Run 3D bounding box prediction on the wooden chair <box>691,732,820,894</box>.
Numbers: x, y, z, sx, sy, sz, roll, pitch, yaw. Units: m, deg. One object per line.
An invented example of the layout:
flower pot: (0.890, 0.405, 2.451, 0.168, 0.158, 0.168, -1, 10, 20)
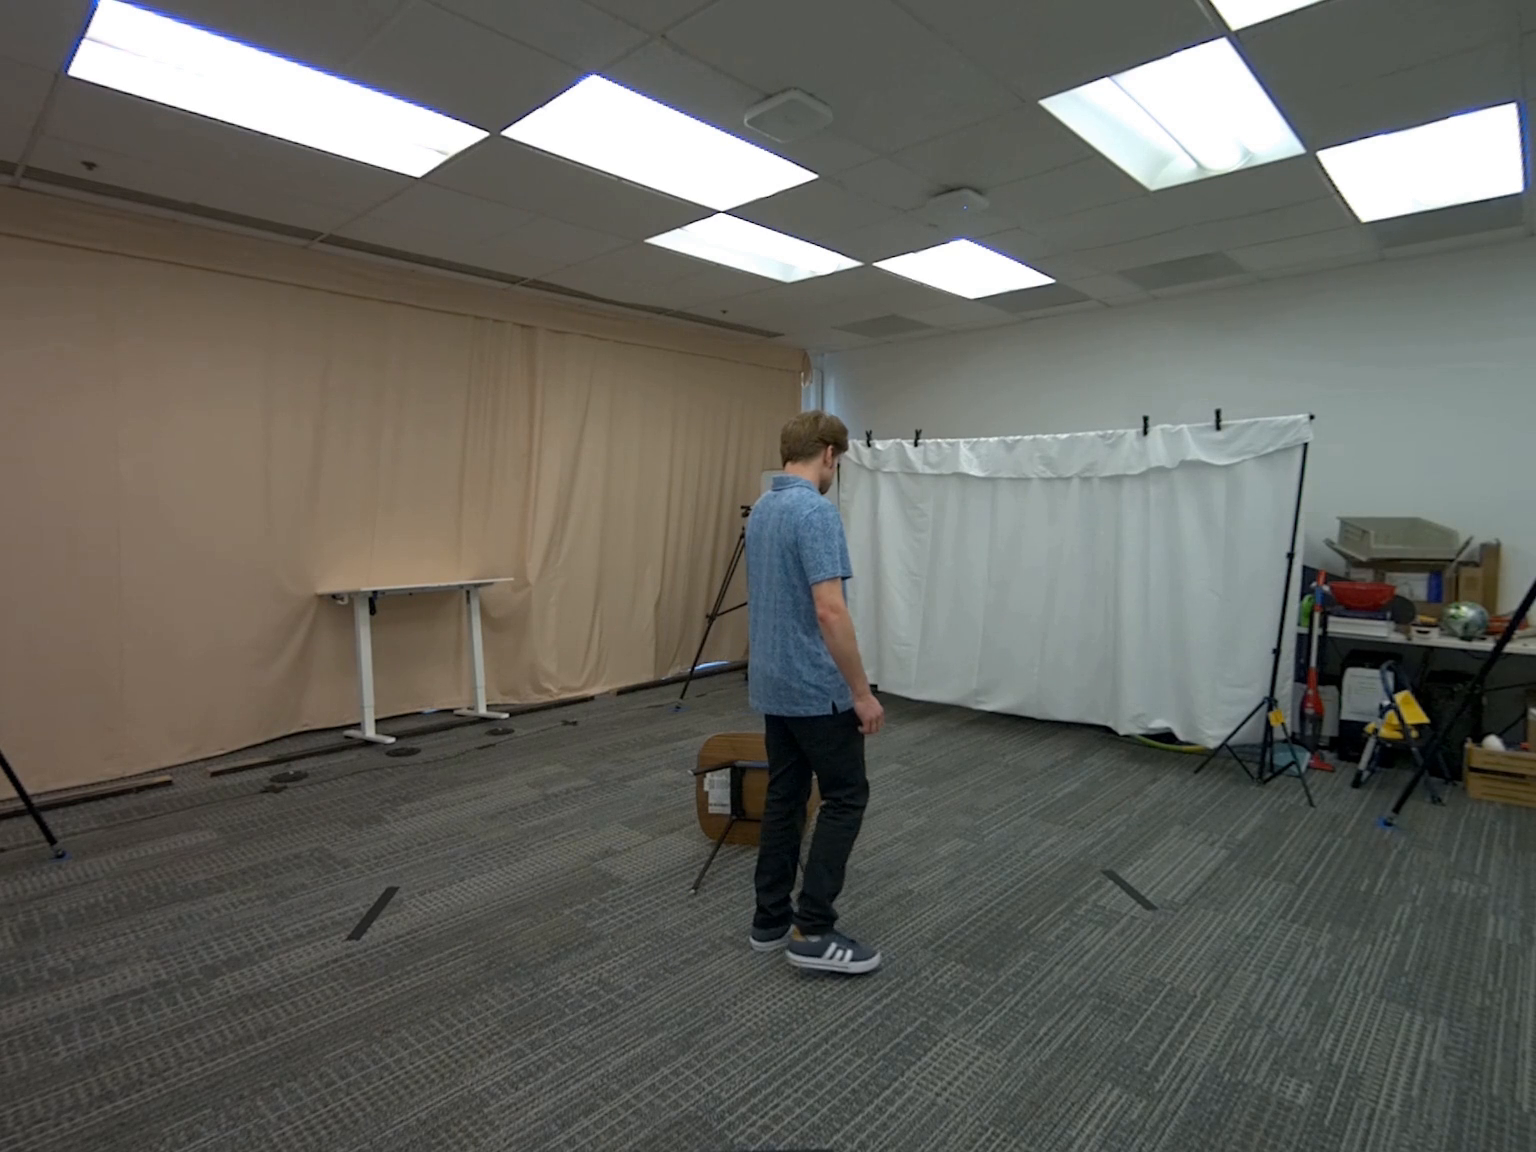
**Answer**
wooden chair: (-0.034, 0.880, 3.393, 0.529, 0.476, 0.870, 0, 5, 9)
